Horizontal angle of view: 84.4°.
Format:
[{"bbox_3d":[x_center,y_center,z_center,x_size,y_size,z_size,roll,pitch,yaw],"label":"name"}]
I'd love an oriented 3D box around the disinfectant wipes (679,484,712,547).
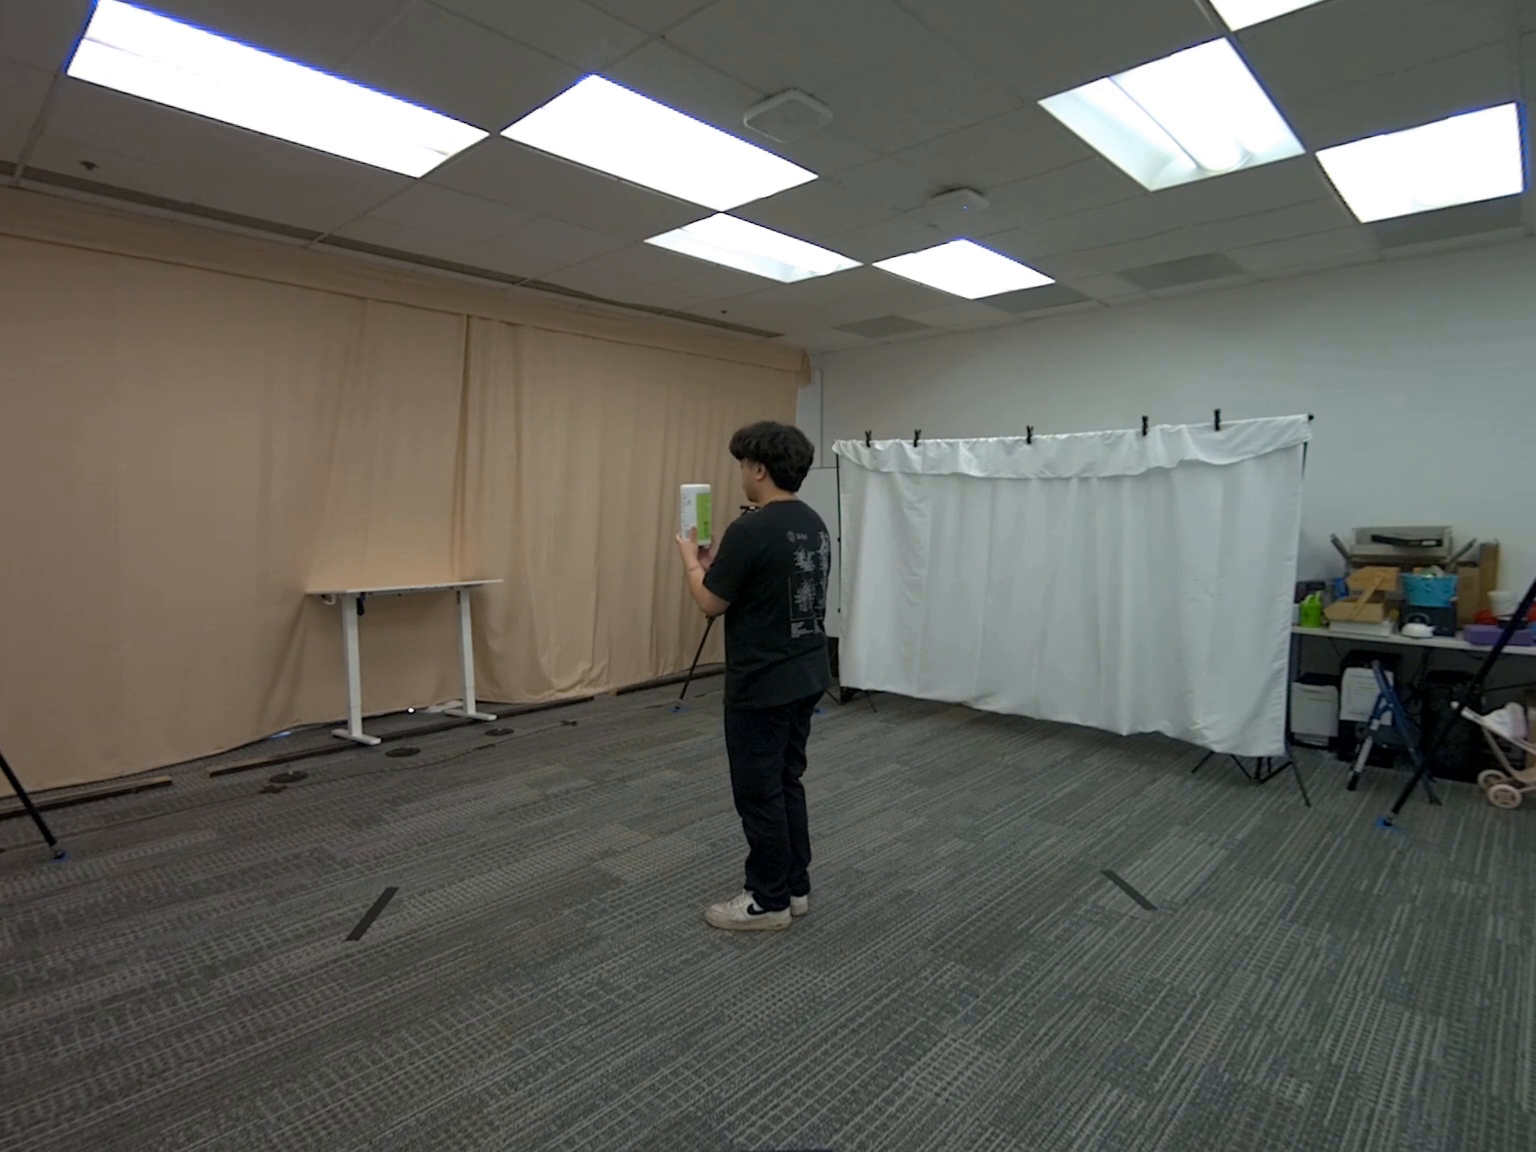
[{"bbox_3d":[-0.257,-0.216,3.020,0.118,0.216,0.118,-2,8,-2],"label":"disinfectant wipes"}]
